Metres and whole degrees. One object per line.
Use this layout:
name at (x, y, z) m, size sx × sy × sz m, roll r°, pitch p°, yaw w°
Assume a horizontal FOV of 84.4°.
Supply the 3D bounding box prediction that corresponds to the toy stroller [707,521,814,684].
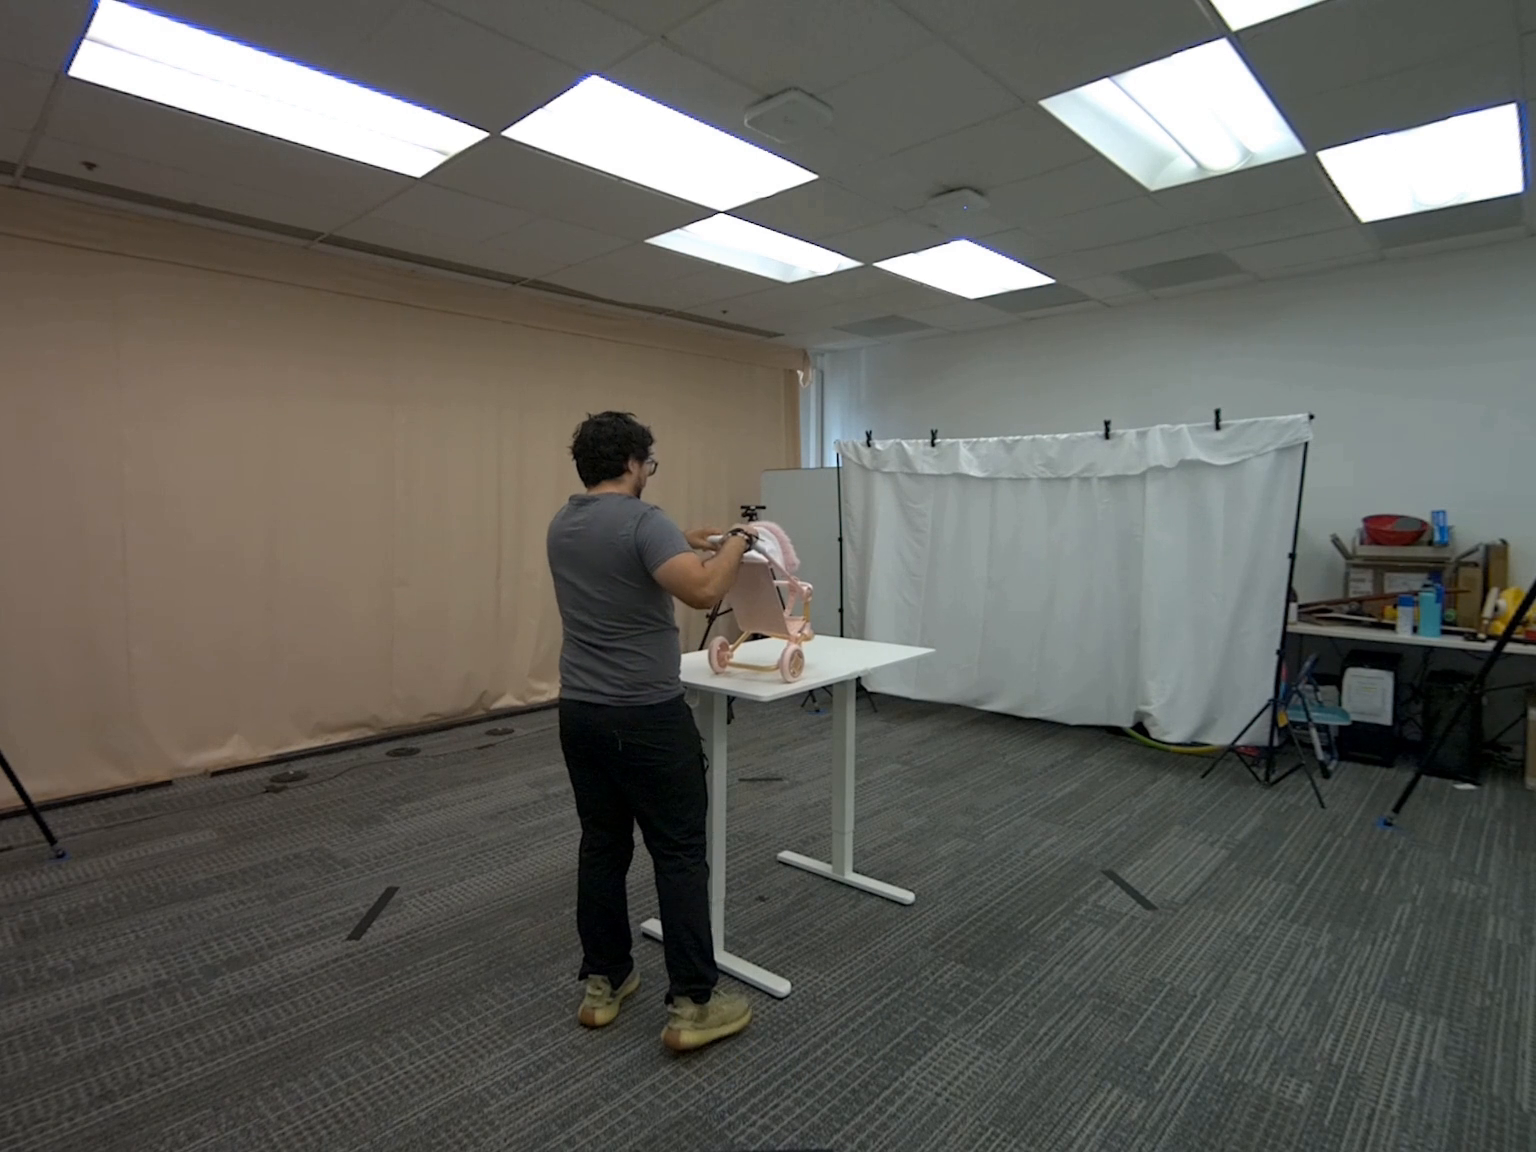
toy stroller at (-0.001, 0.073, 2.529) m, size 0.290 × 0.528 × 0.335 m, roll 3°, pitch 20°, yaw 36°
